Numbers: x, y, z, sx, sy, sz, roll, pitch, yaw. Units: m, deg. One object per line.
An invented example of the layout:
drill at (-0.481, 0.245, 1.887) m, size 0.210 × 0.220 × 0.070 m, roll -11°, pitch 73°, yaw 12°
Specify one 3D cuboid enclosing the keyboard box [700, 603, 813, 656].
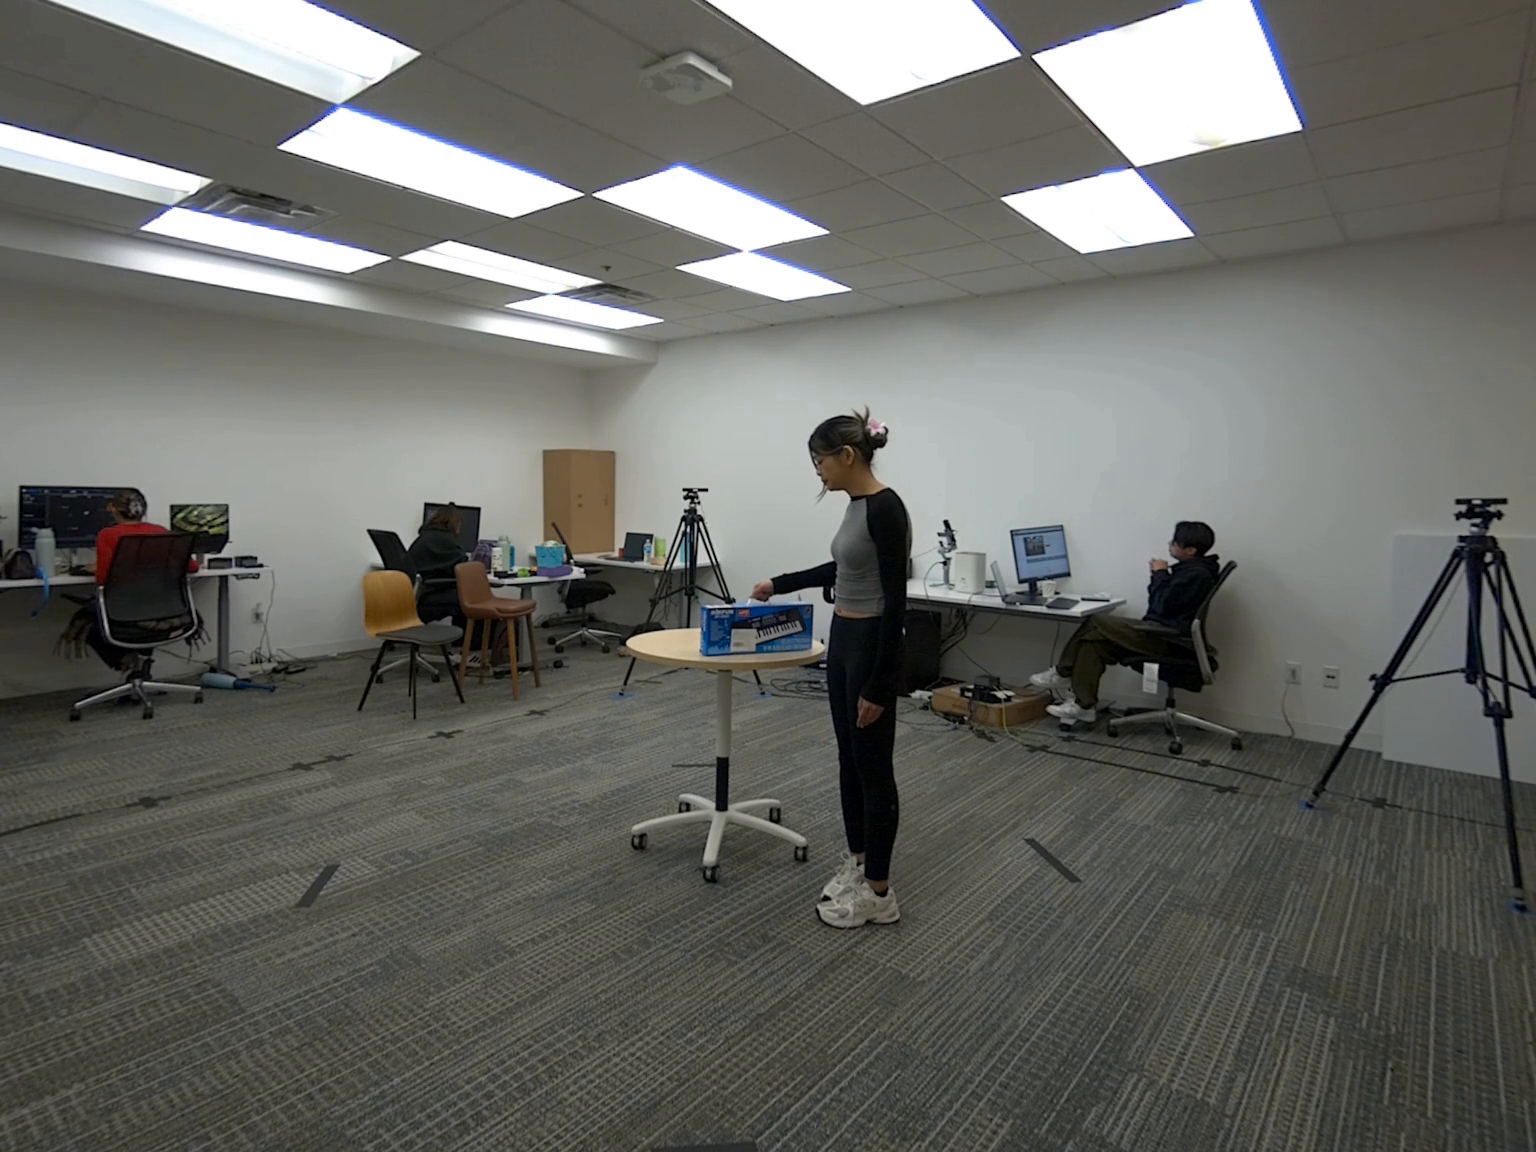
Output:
keyboard box at (-0.045, 0.189, 3.114) m, size 0.426 × 0.175 × 0.061 m, roll -1°, pitch 4°, yaw -25°
